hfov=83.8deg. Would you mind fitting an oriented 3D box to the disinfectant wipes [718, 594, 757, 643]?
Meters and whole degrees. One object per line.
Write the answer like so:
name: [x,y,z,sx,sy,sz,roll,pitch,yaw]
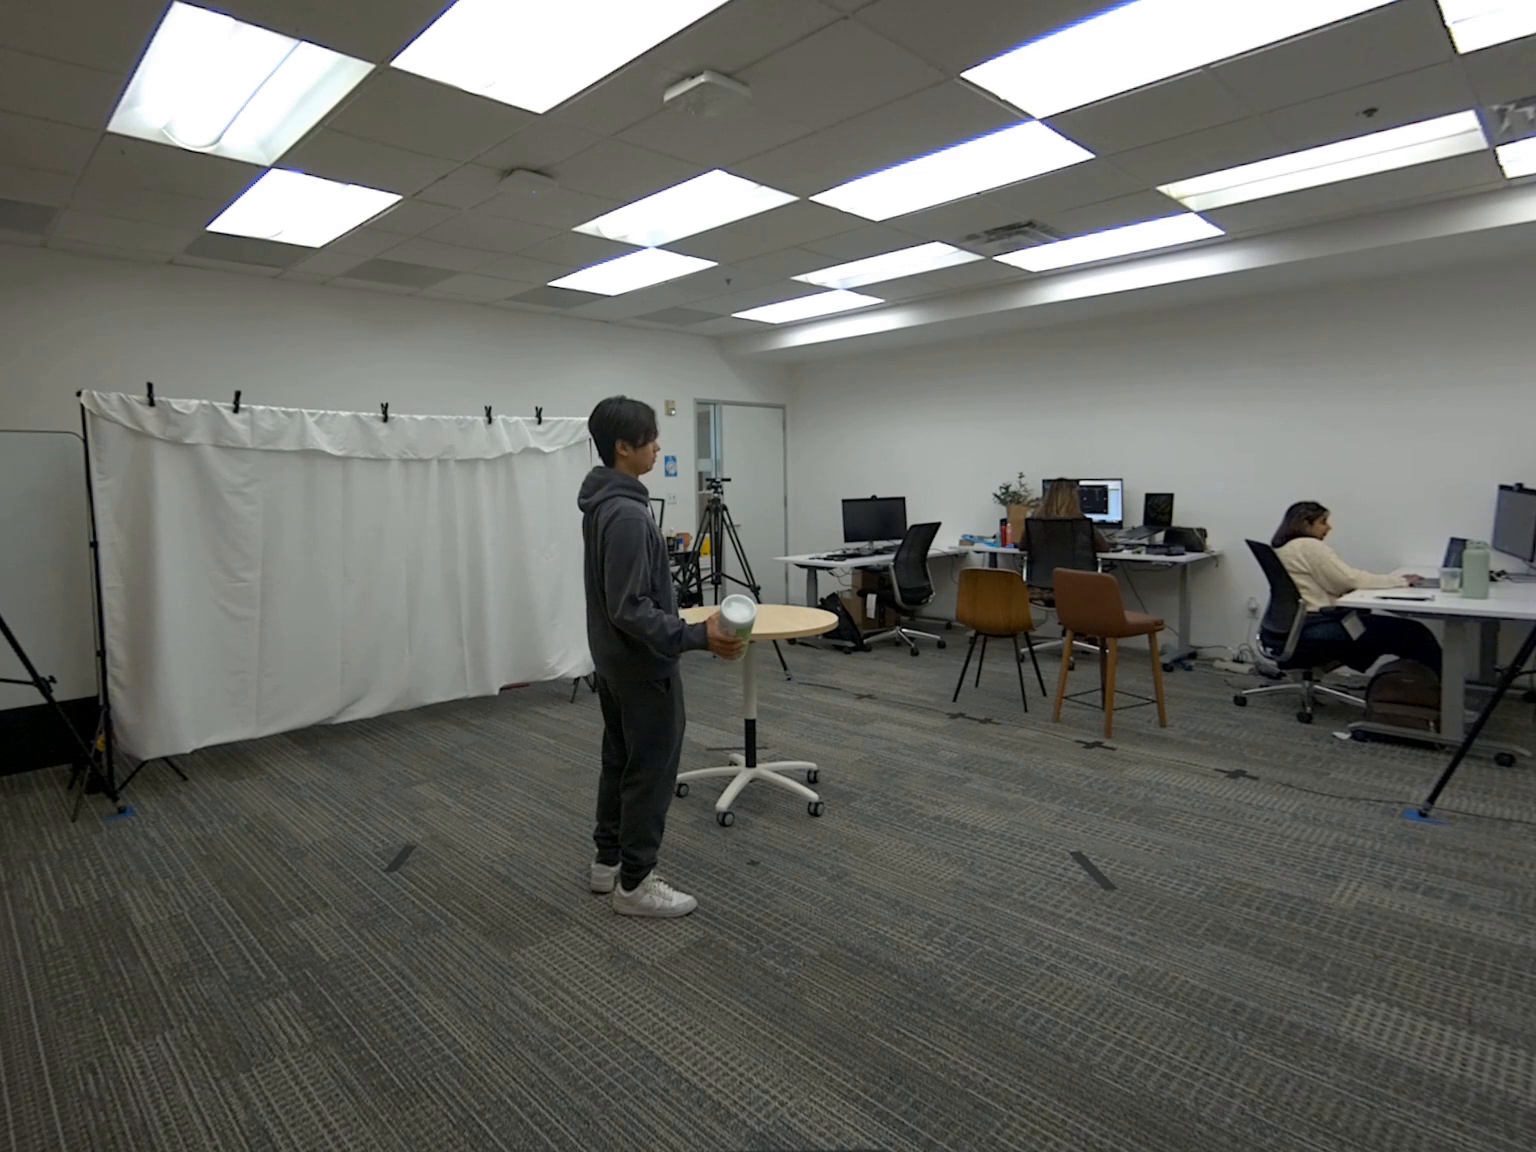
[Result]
disinfectant wipes: [-0.106,0.159,2.588,0.116,0.121,0.213,-1,-39,-12]
